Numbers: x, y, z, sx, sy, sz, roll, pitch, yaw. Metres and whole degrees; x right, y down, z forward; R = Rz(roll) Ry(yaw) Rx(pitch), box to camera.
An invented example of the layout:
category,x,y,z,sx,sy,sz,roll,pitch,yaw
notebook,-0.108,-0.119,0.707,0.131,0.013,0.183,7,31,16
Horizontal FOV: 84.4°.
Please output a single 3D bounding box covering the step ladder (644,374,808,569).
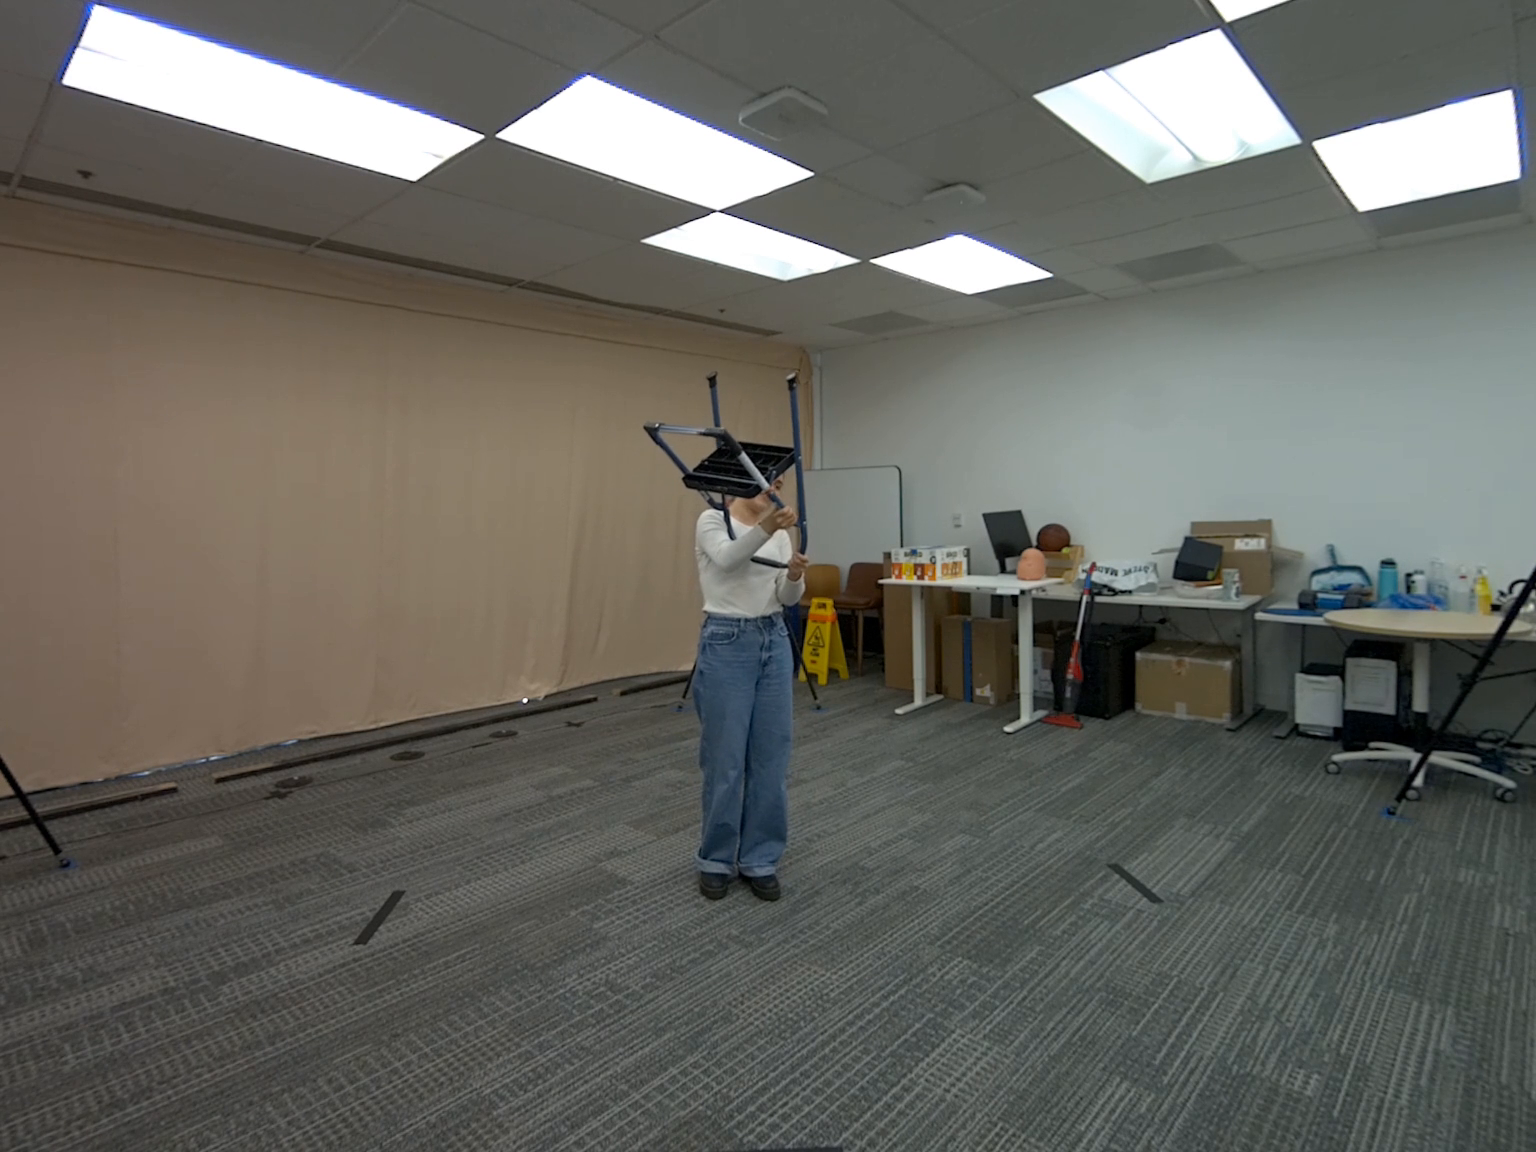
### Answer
category,x,y,z,sx,sy,sz,roll,pitch,yaw
step ladder,-0.049,-0.321,2.787,0.346,0.590,0.446,-41,34,-26
